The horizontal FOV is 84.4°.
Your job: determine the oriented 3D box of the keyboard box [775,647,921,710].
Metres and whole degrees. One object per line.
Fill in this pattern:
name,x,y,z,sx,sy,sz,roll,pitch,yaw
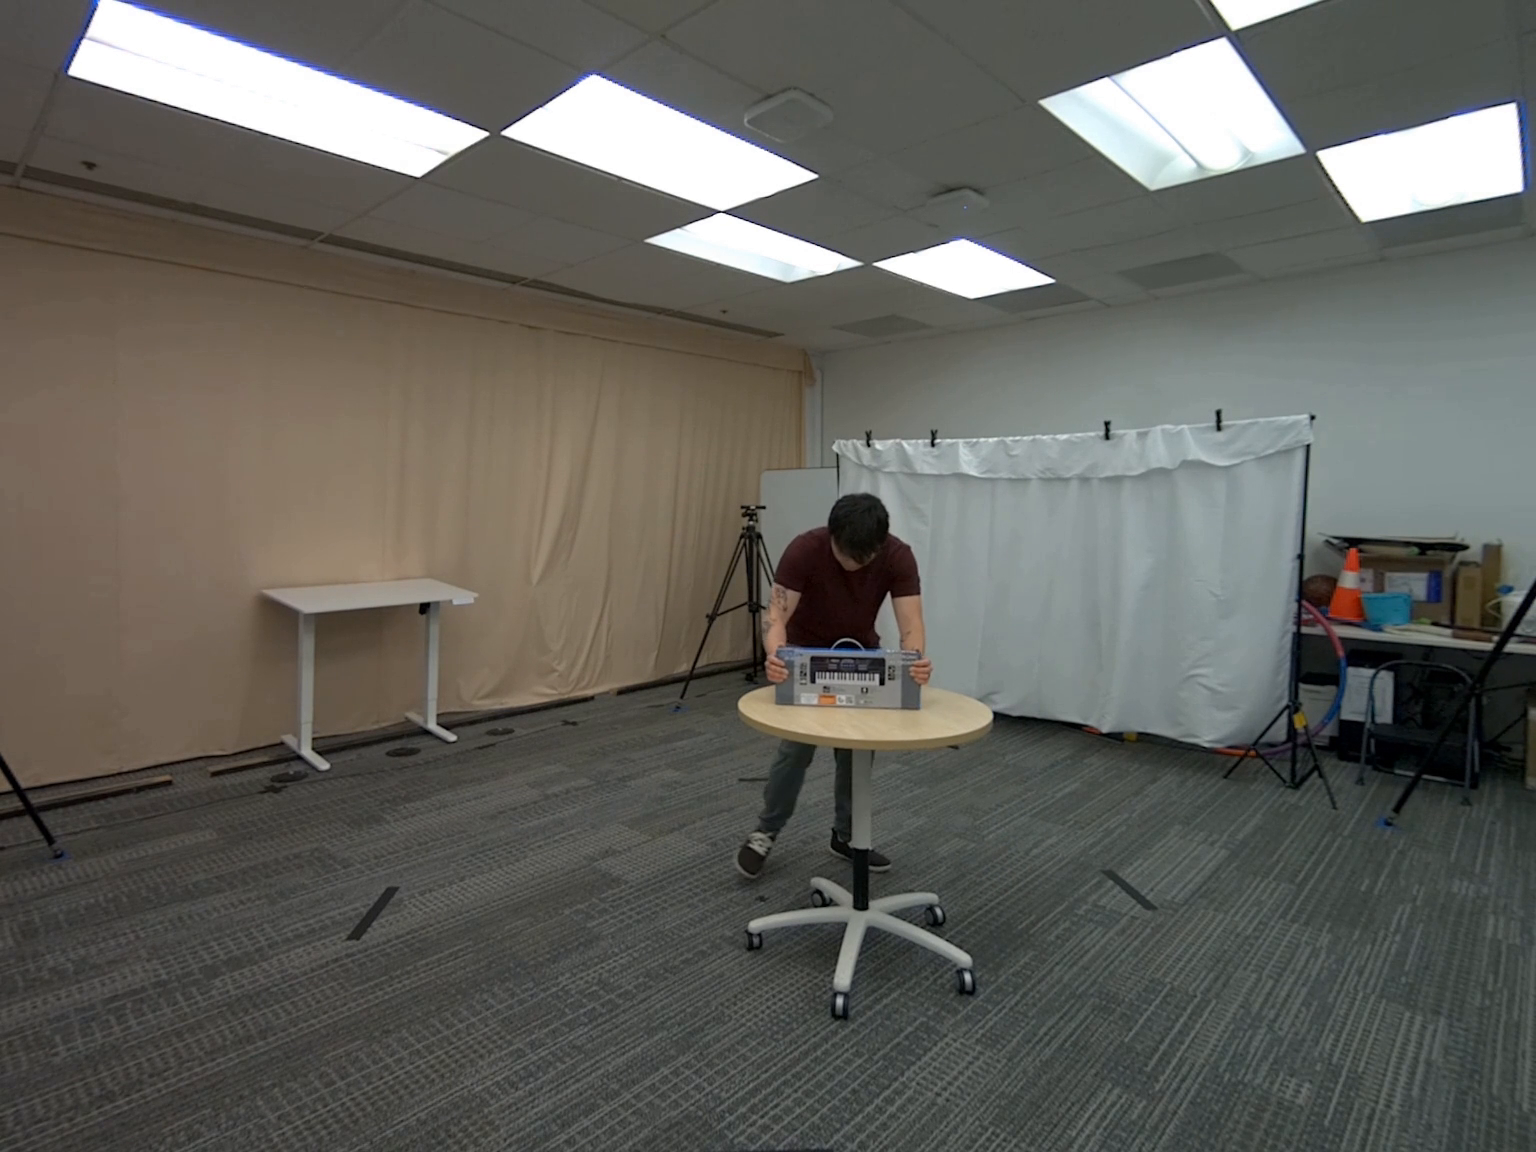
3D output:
keyboard box,0.243,0.309,2.592,0.441,0.175,0.058,0,3,9
